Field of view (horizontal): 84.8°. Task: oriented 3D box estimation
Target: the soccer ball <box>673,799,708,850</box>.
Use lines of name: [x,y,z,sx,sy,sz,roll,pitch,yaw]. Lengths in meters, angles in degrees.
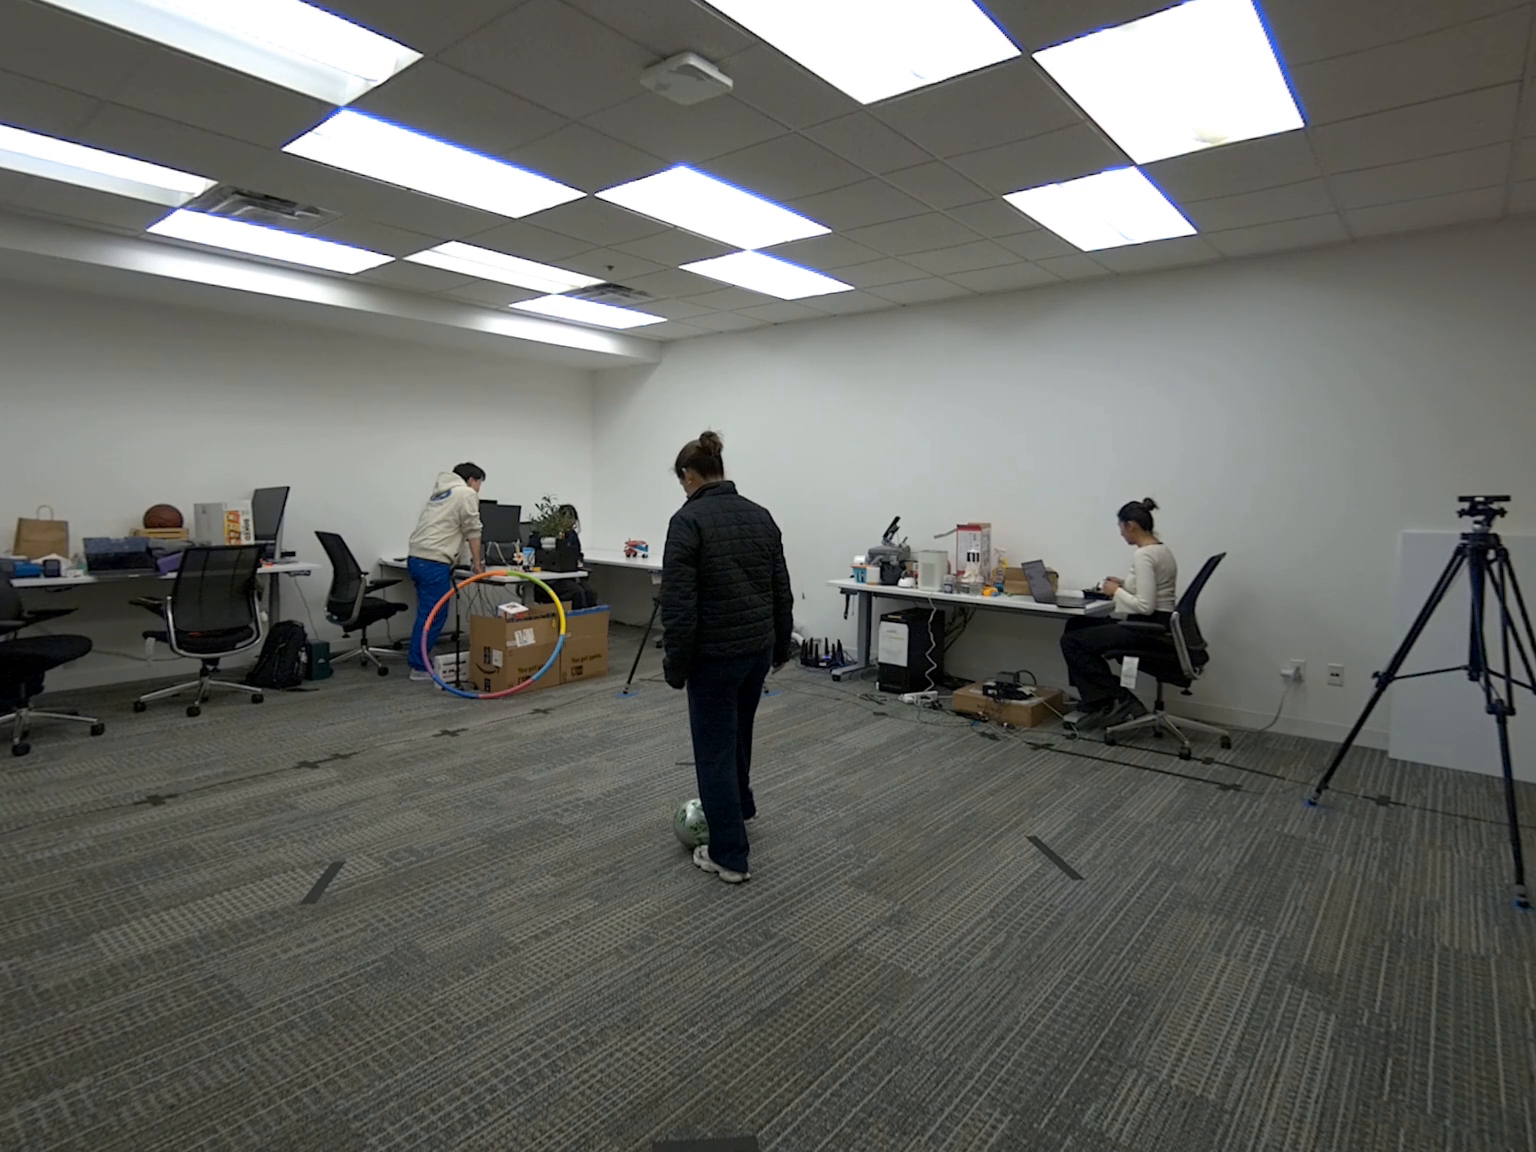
soccer ball: [-0.277,0.950,3.293,0.187,0.187,0.188,1,4,-2]
